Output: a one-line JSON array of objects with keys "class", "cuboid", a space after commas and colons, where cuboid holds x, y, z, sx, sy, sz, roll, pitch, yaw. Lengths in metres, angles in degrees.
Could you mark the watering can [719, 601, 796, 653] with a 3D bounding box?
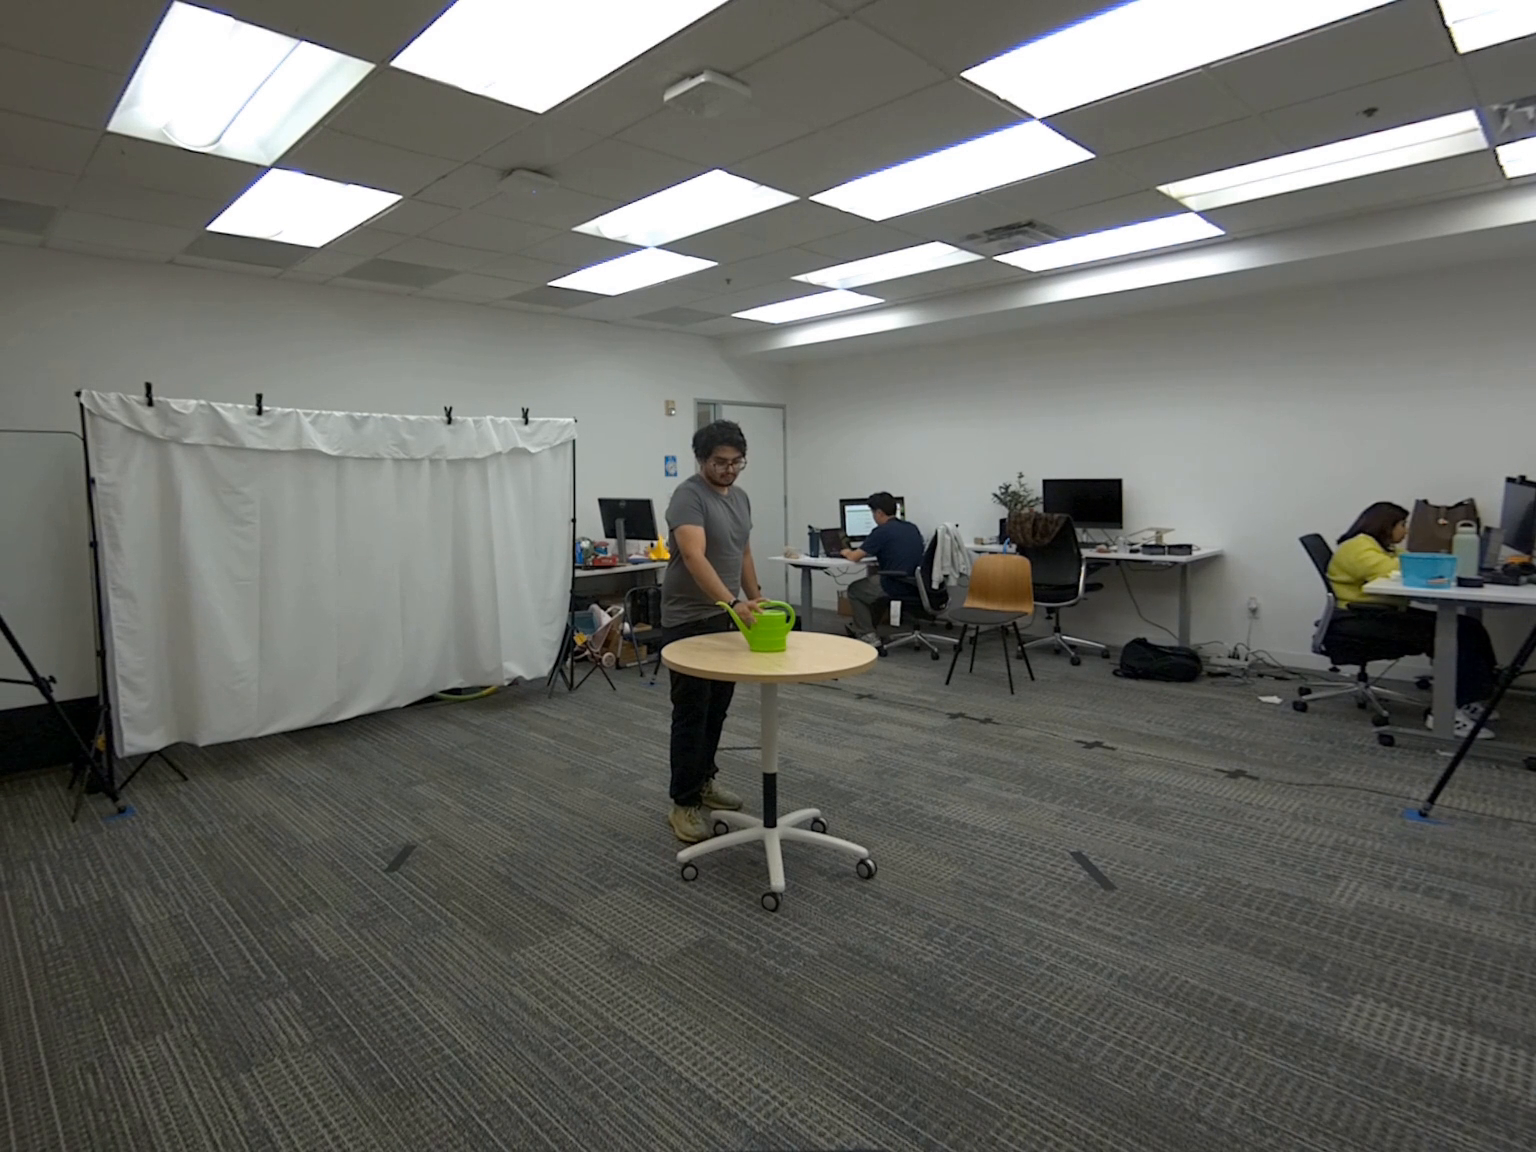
[{"class": "watering can", "cuboid": [-0.040, 0.180, 3.047, 0.279, 0.176, 0.098, 3, 6, 3]}]
